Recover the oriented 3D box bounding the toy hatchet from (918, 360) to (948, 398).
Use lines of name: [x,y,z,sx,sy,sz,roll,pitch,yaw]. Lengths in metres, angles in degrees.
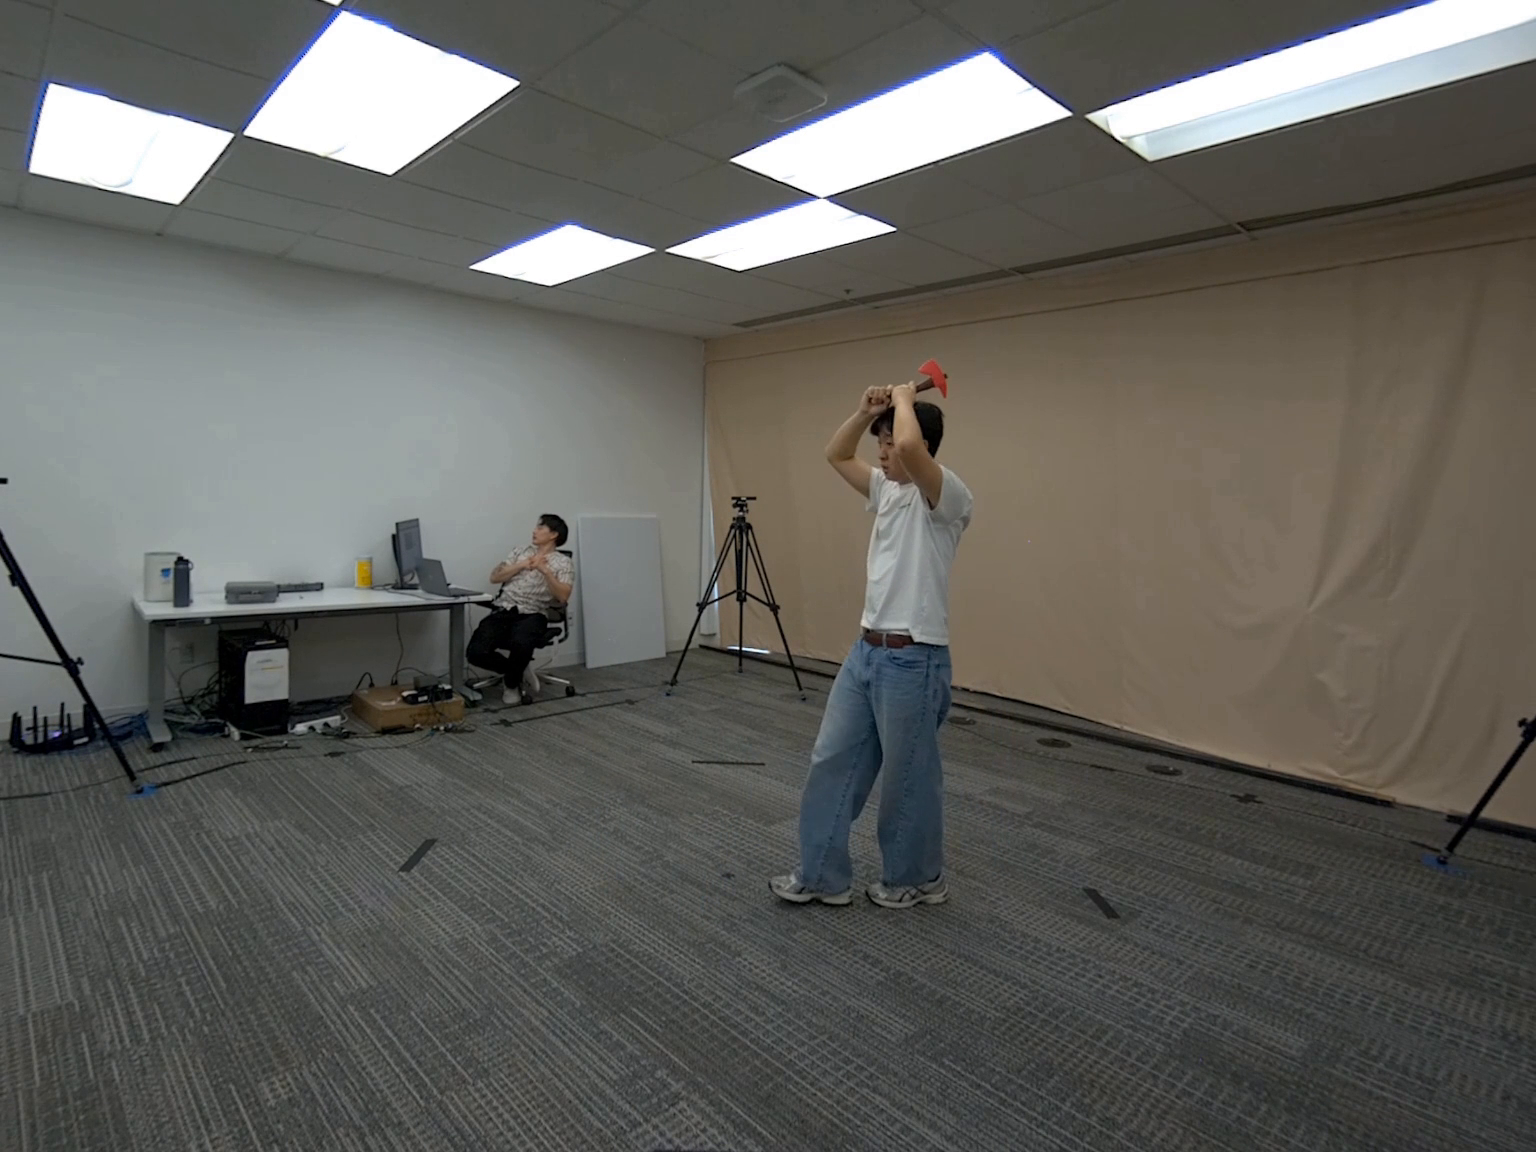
toy hatchet: [0.454,-0.650,2.806,0.270,0.130,0.030,-2,6,2]
